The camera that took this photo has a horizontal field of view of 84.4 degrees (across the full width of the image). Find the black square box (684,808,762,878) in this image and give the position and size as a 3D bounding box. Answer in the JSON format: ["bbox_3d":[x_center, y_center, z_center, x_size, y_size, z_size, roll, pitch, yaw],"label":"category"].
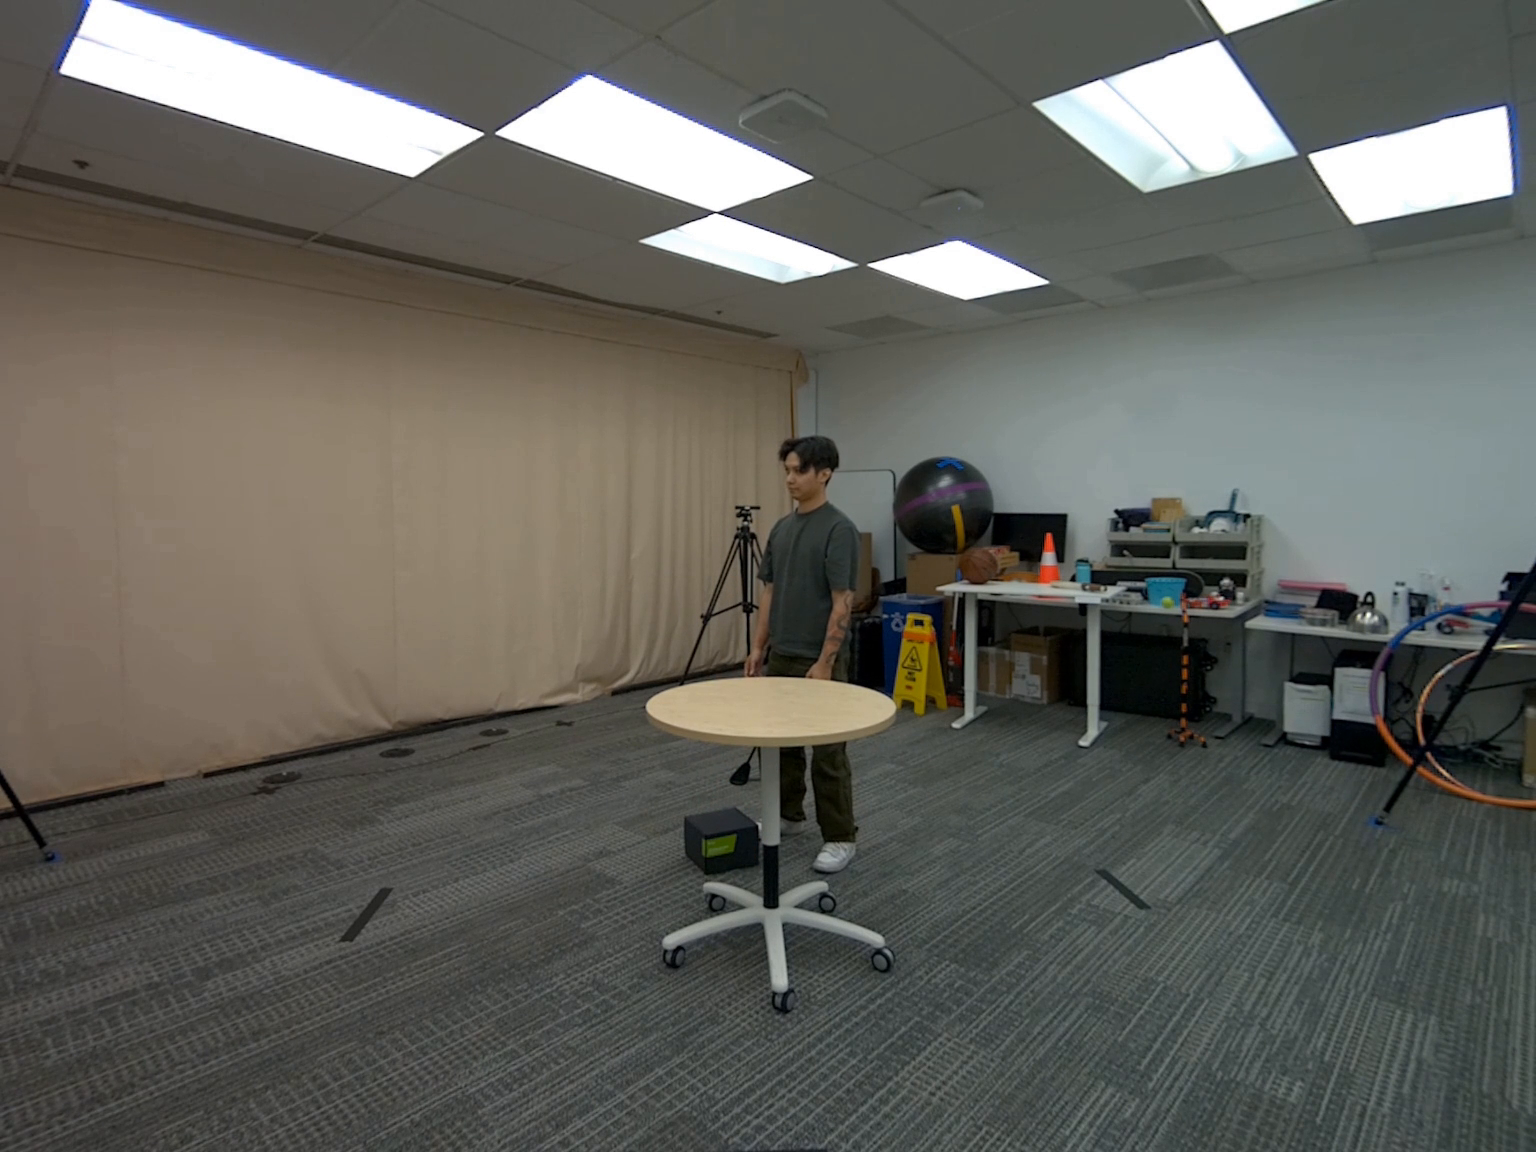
[{"bbox_3d":[-0.181,1.035,3.309,0.222,0.155,0.223,-3,5,-27],"label":"black square box"}]
